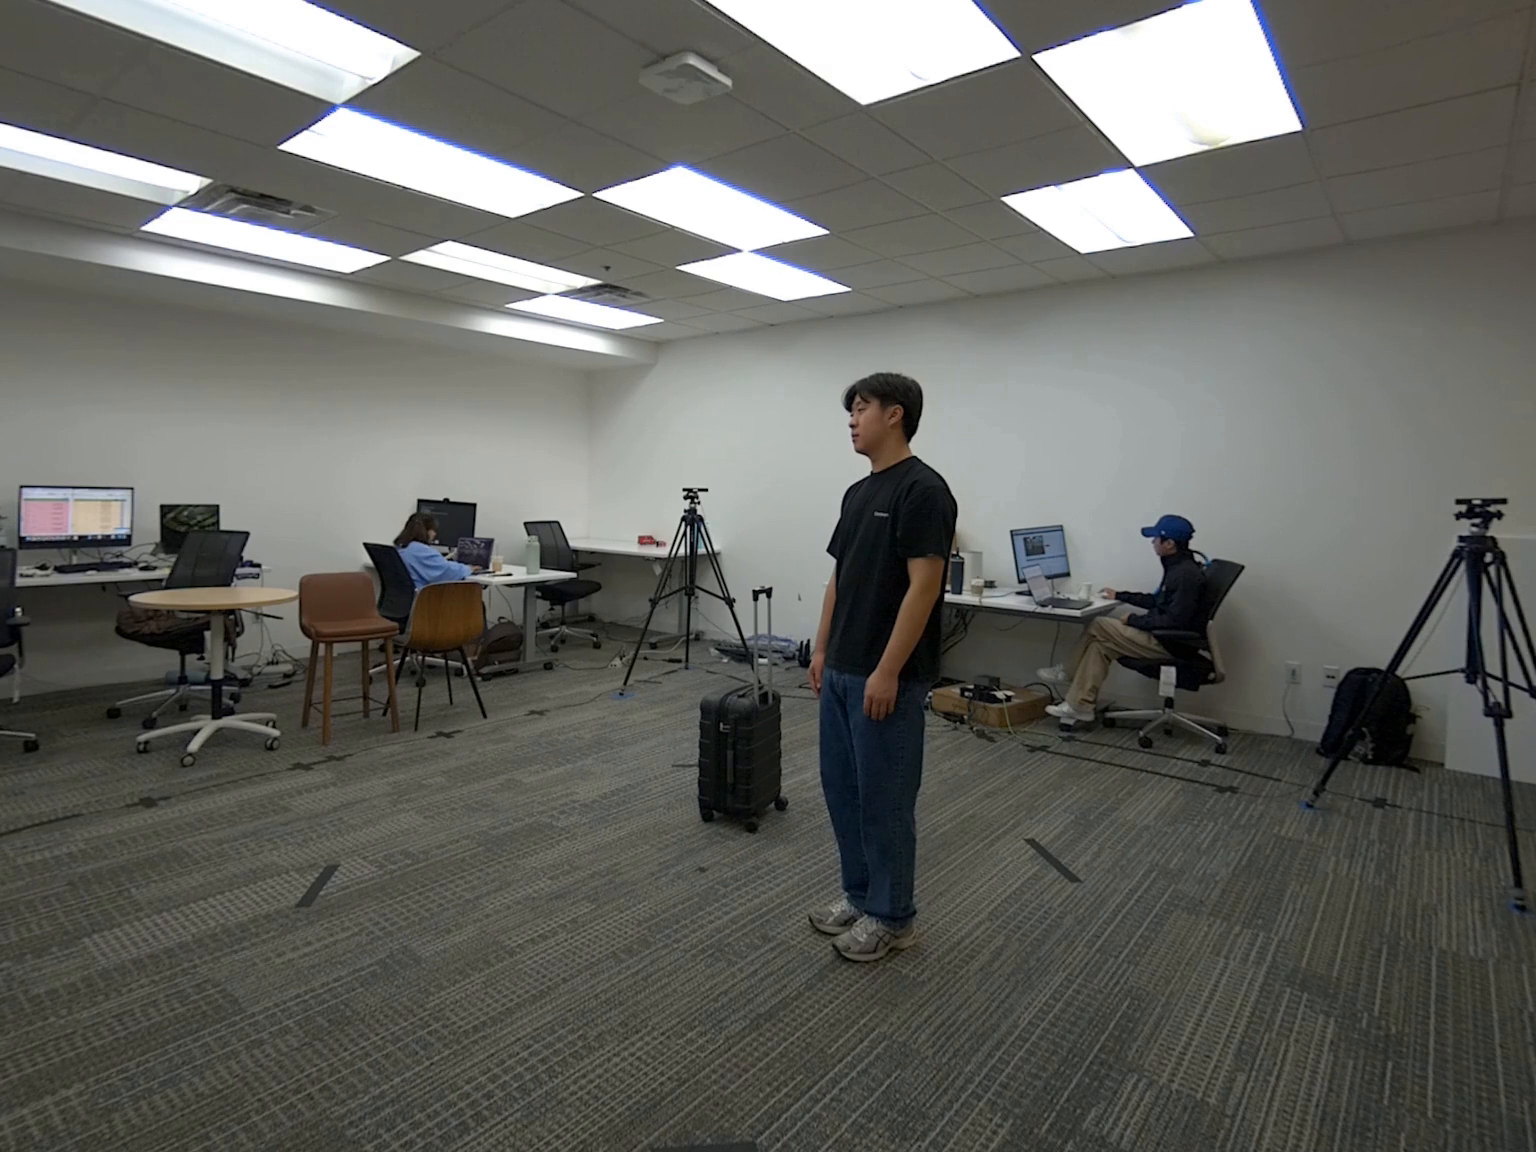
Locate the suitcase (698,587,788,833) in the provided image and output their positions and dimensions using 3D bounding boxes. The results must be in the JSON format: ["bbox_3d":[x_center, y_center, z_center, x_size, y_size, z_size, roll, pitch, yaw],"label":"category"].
[{"bbox_3d":[-0.133,0.545,3.631,0.264,0.977,0.375,-2,1,27],"label":"suitcase"}]
